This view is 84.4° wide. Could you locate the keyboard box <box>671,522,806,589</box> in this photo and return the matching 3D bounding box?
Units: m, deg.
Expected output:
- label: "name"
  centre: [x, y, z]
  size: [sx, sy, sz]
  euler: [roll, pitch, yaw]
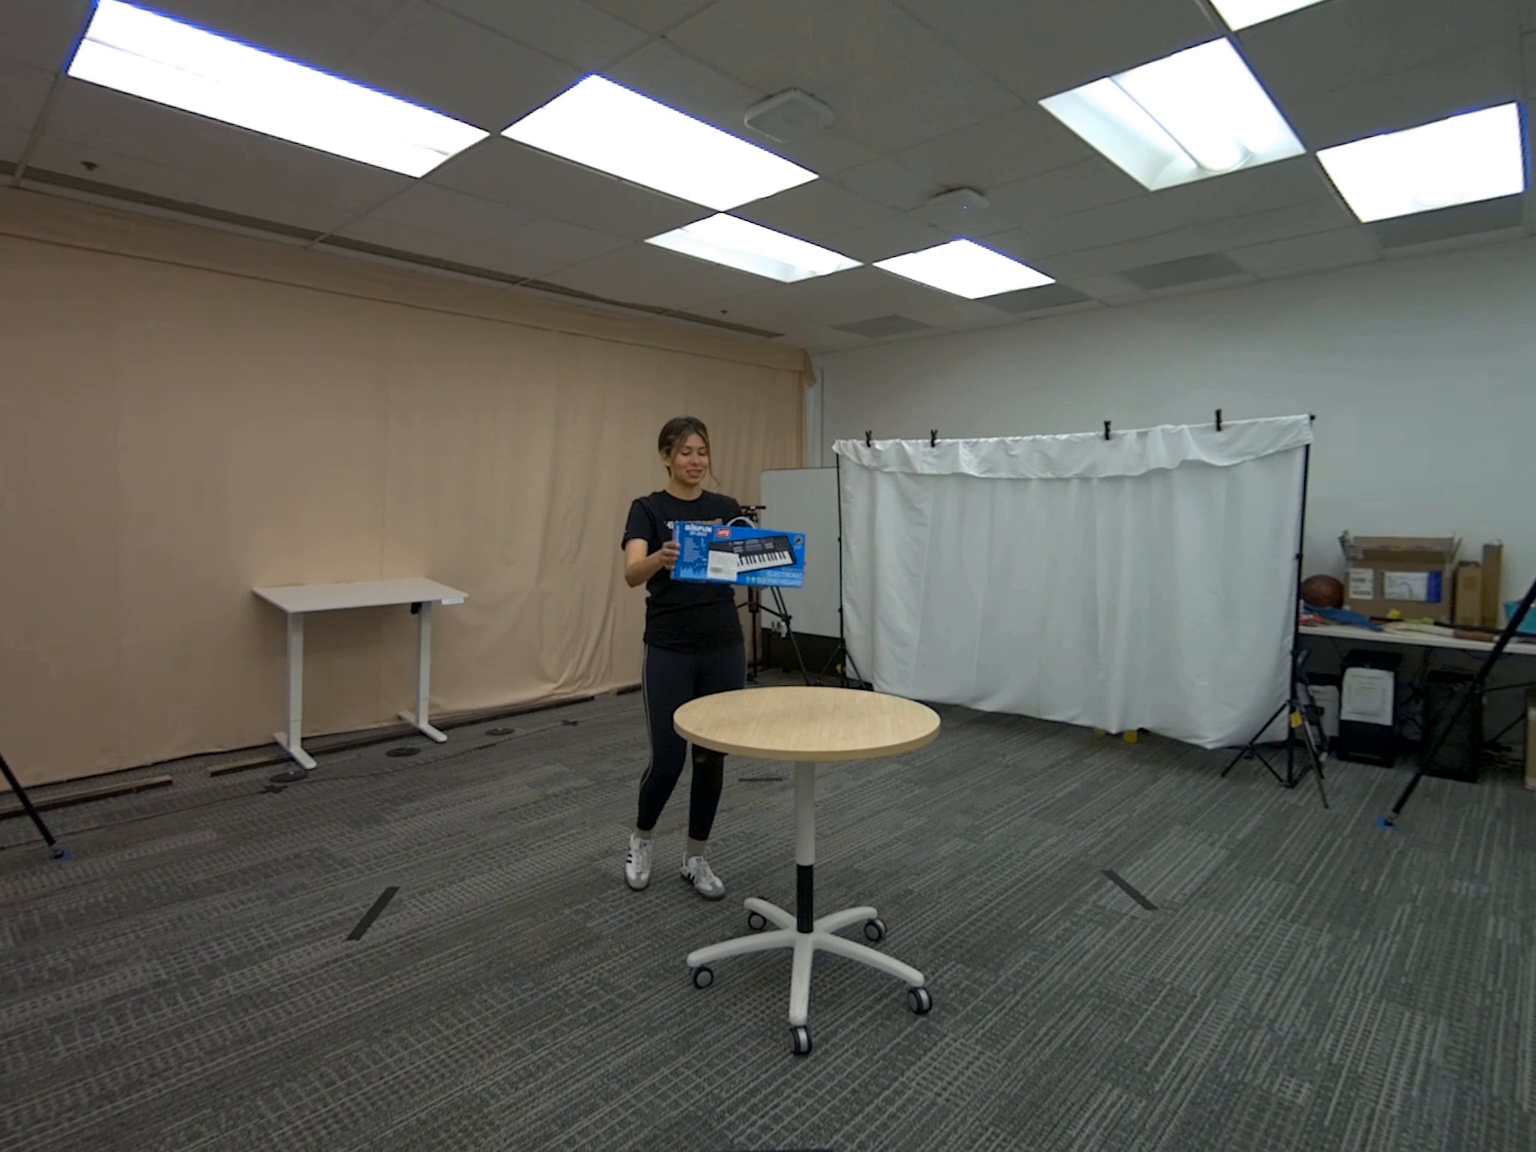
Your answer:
- label: "keyboard box"
  centre: [-0.087, -0.058, 2.595]
  size: [0.425, 0.176, 0.060]
  euler: [4, -5, -28]
